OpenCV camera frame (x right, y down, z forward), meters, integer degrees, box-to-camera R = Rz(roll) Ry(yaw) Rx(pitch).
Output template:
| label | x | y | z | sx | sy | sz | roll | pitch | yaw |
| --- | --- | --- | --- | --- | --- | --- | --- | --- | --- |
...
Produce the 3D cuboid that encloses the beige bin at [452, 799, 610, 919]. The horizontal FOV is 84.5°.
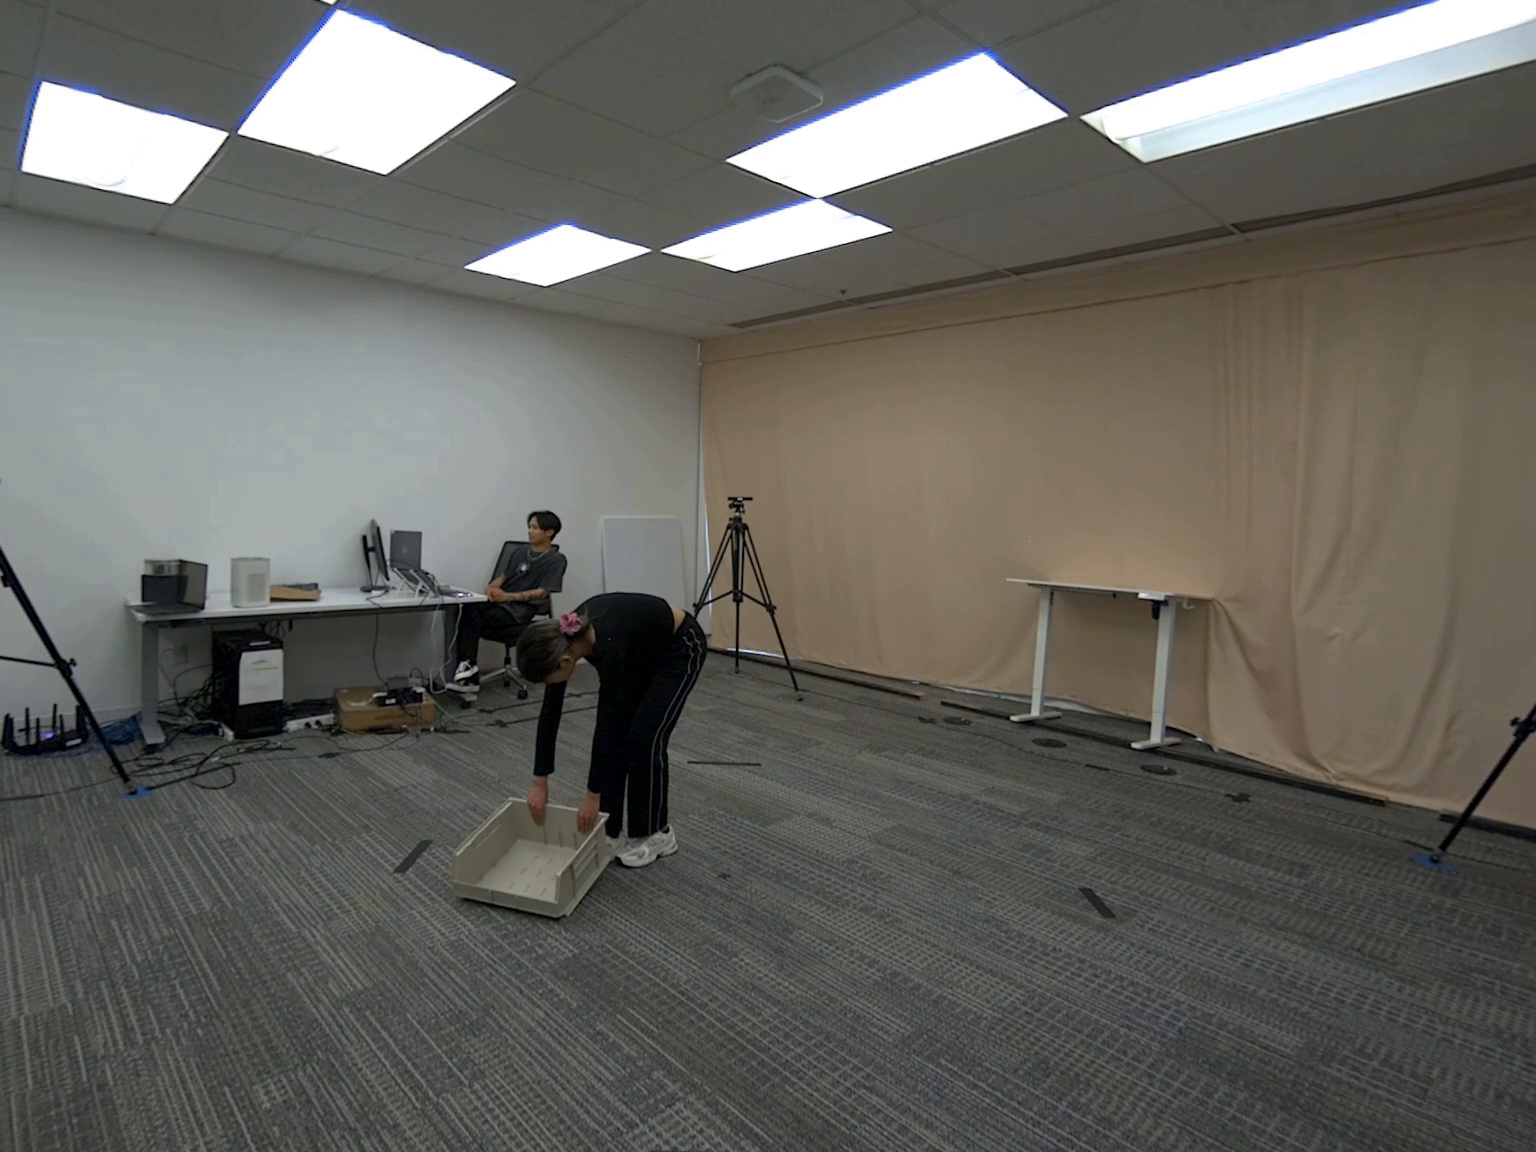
| label | x | y | z | sx | sy | sz | roll | pitch | yaw |
| --- | --- | --- | --- | --- | --- | --- | --- | --- | --- |
| beige bin | -0.824 | 0.985 | 2.937 | 0.428 | 0.187 | 0.376 | 1 | 14 | 15 |
